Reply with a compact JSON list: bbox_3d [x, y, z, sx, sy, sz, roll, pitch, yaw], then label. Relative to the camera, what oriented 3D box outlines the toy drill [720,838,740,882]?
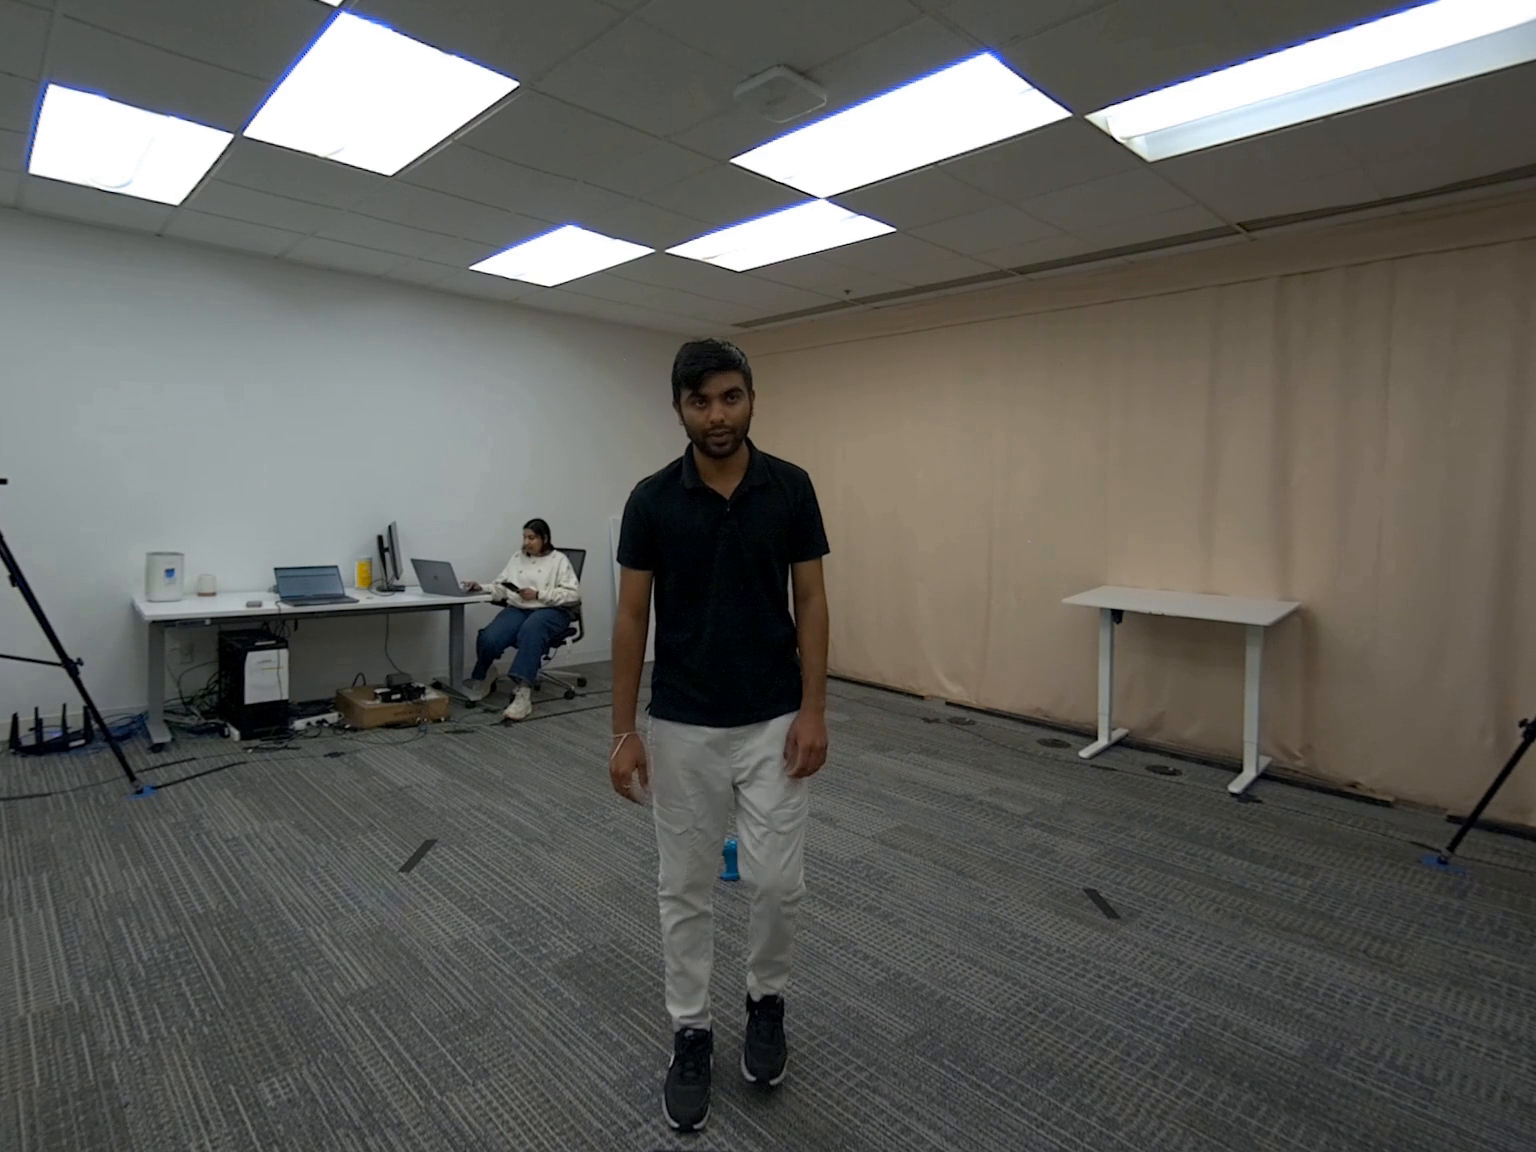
[{"bbox_3d":[-0.176,1.034,3.097,0.170,0.146,0.061,1,0,2],"label":"toy drill"}]
